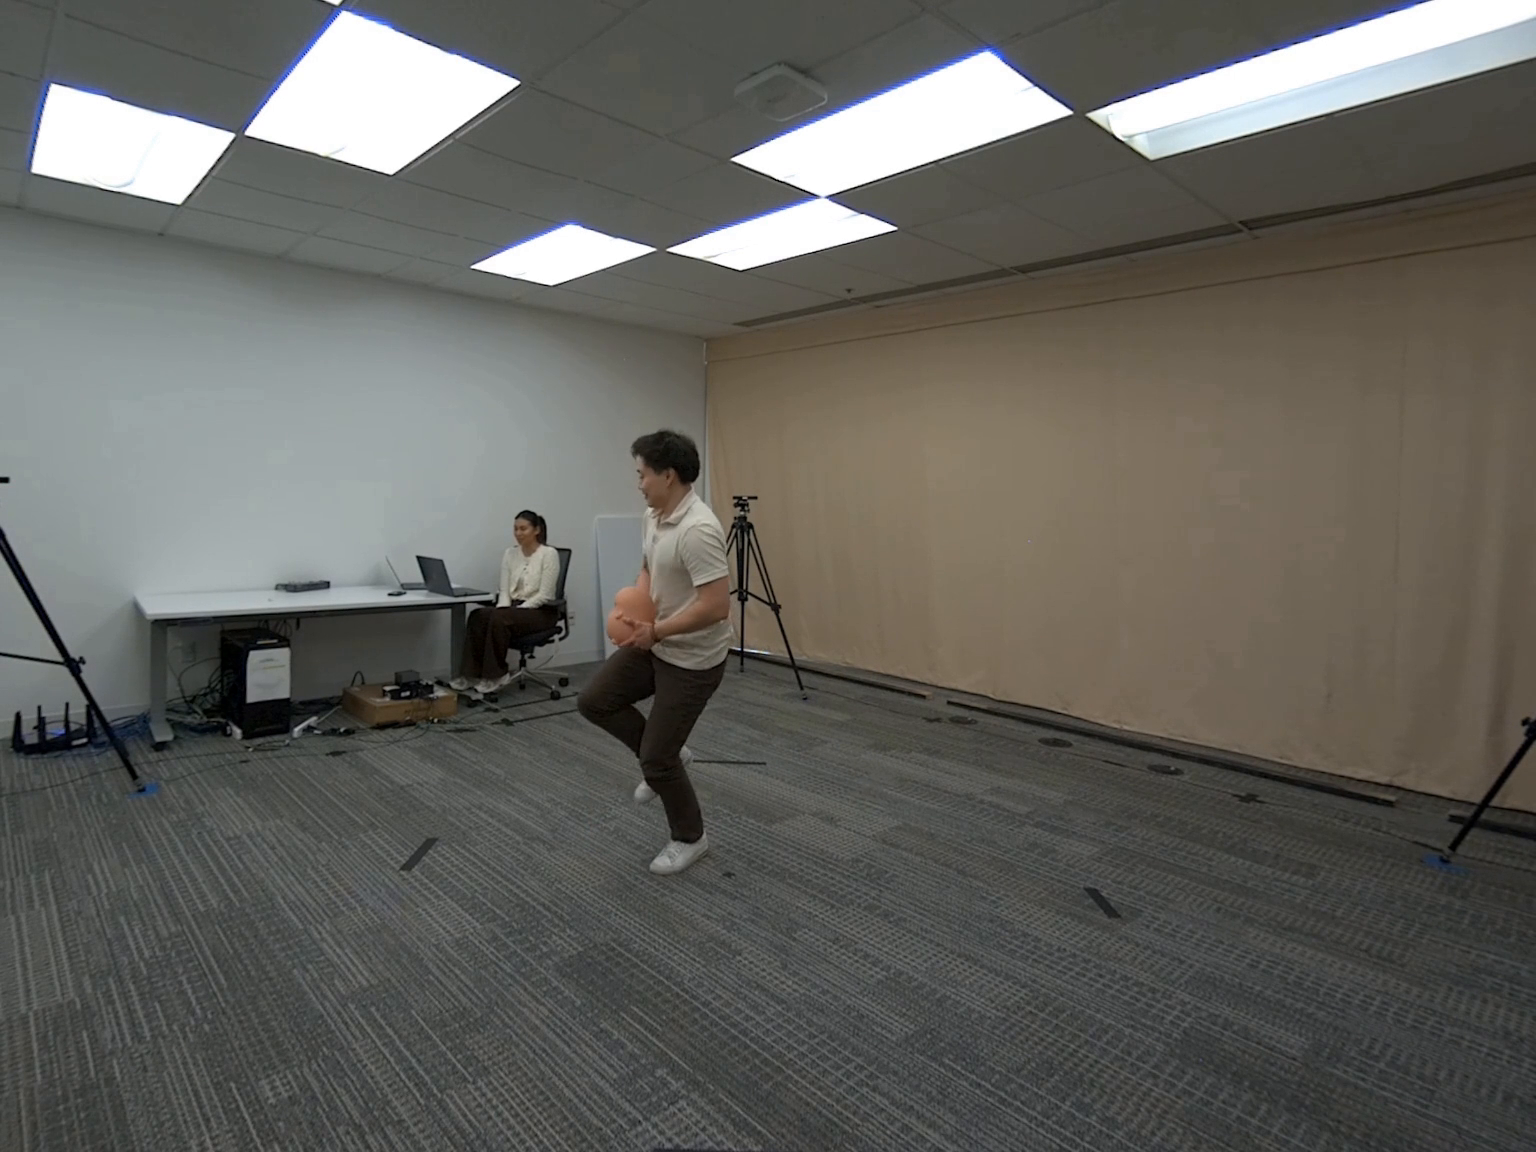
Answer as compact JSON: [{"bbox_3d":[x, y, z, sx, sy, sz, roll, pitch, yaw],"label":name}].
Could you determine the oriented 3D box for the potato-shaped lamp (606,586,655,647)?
[{"bbox_3d":[-0.490,0.111,2.971,0.169,0.197,0.167,-1,7,-17],"label":"potato-shaped lamp"}]
